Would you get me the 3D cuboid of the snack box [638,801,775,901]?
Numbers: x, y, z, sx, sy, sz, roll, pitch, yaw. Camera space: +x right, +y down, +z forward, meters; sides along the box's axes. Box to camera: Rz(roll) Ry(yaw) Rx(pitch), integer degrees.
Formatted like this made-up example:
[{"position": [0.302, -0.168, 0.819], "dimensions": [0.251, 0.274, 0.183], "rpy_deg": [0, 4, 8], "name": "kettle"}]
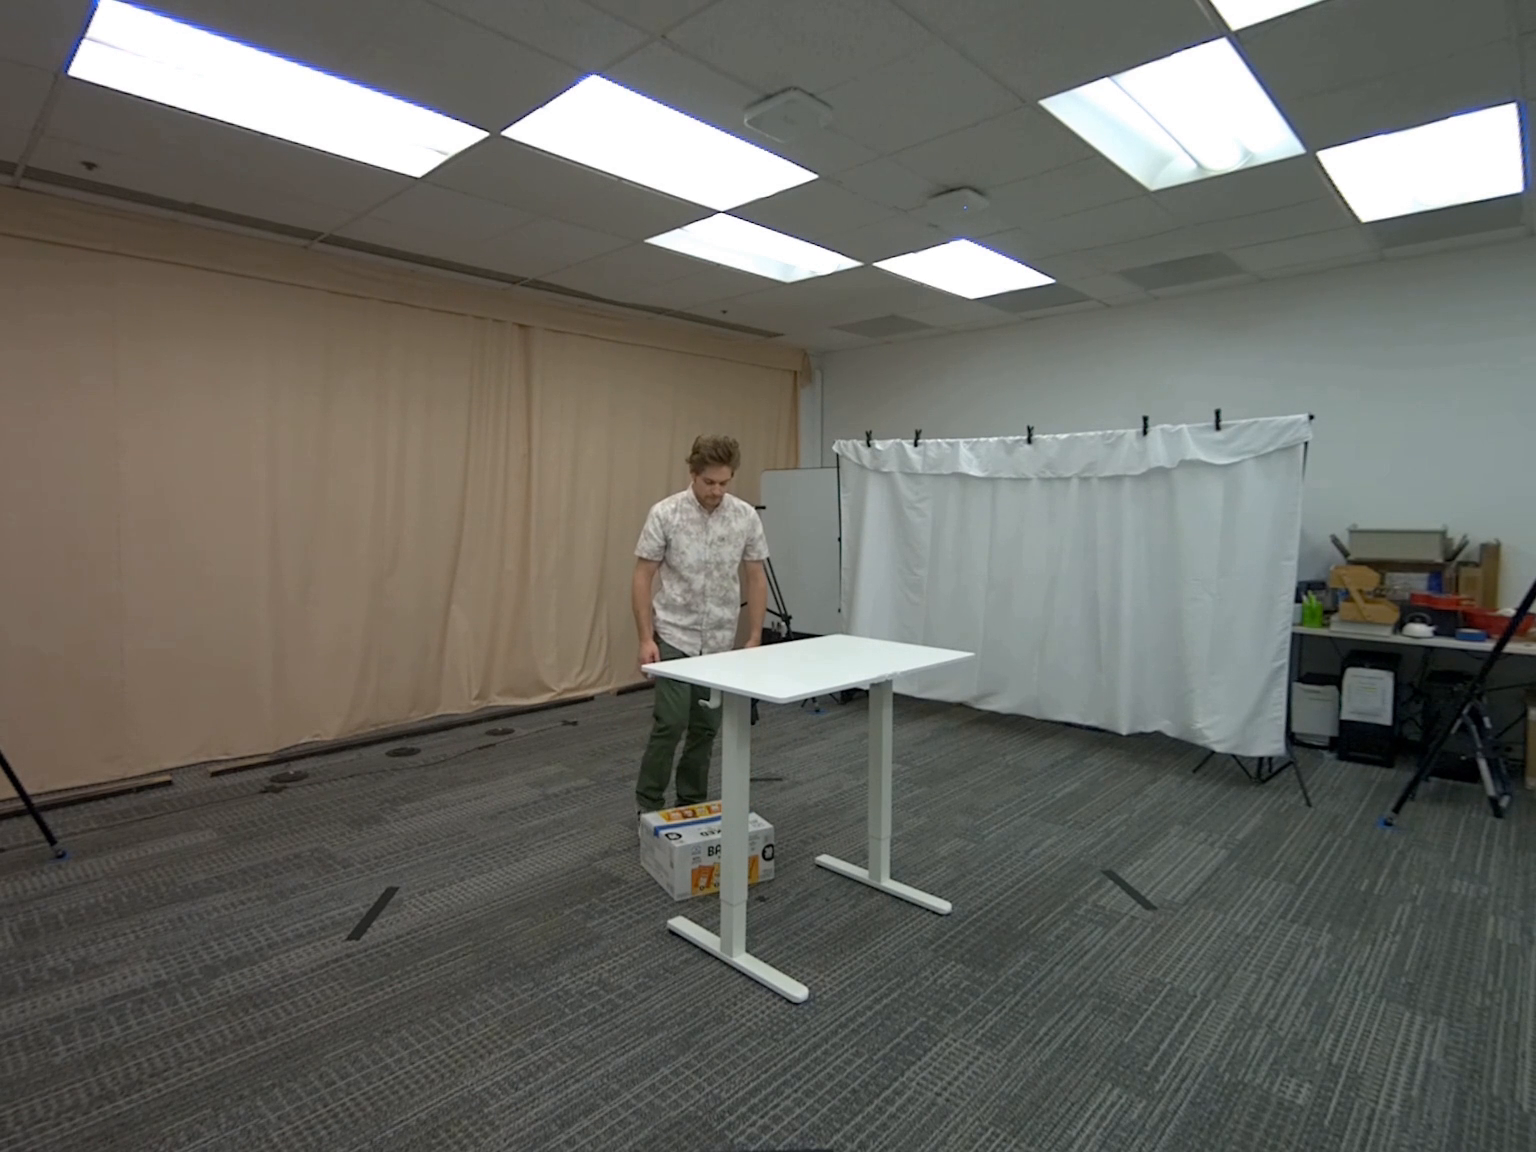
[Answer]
[{"position": [-0.233, 1.026, 3.190], "dimensions": [0.395, 0.205, 0.350], "rpy_deg": [-3, 5, -28], "name": "snack box"}]
